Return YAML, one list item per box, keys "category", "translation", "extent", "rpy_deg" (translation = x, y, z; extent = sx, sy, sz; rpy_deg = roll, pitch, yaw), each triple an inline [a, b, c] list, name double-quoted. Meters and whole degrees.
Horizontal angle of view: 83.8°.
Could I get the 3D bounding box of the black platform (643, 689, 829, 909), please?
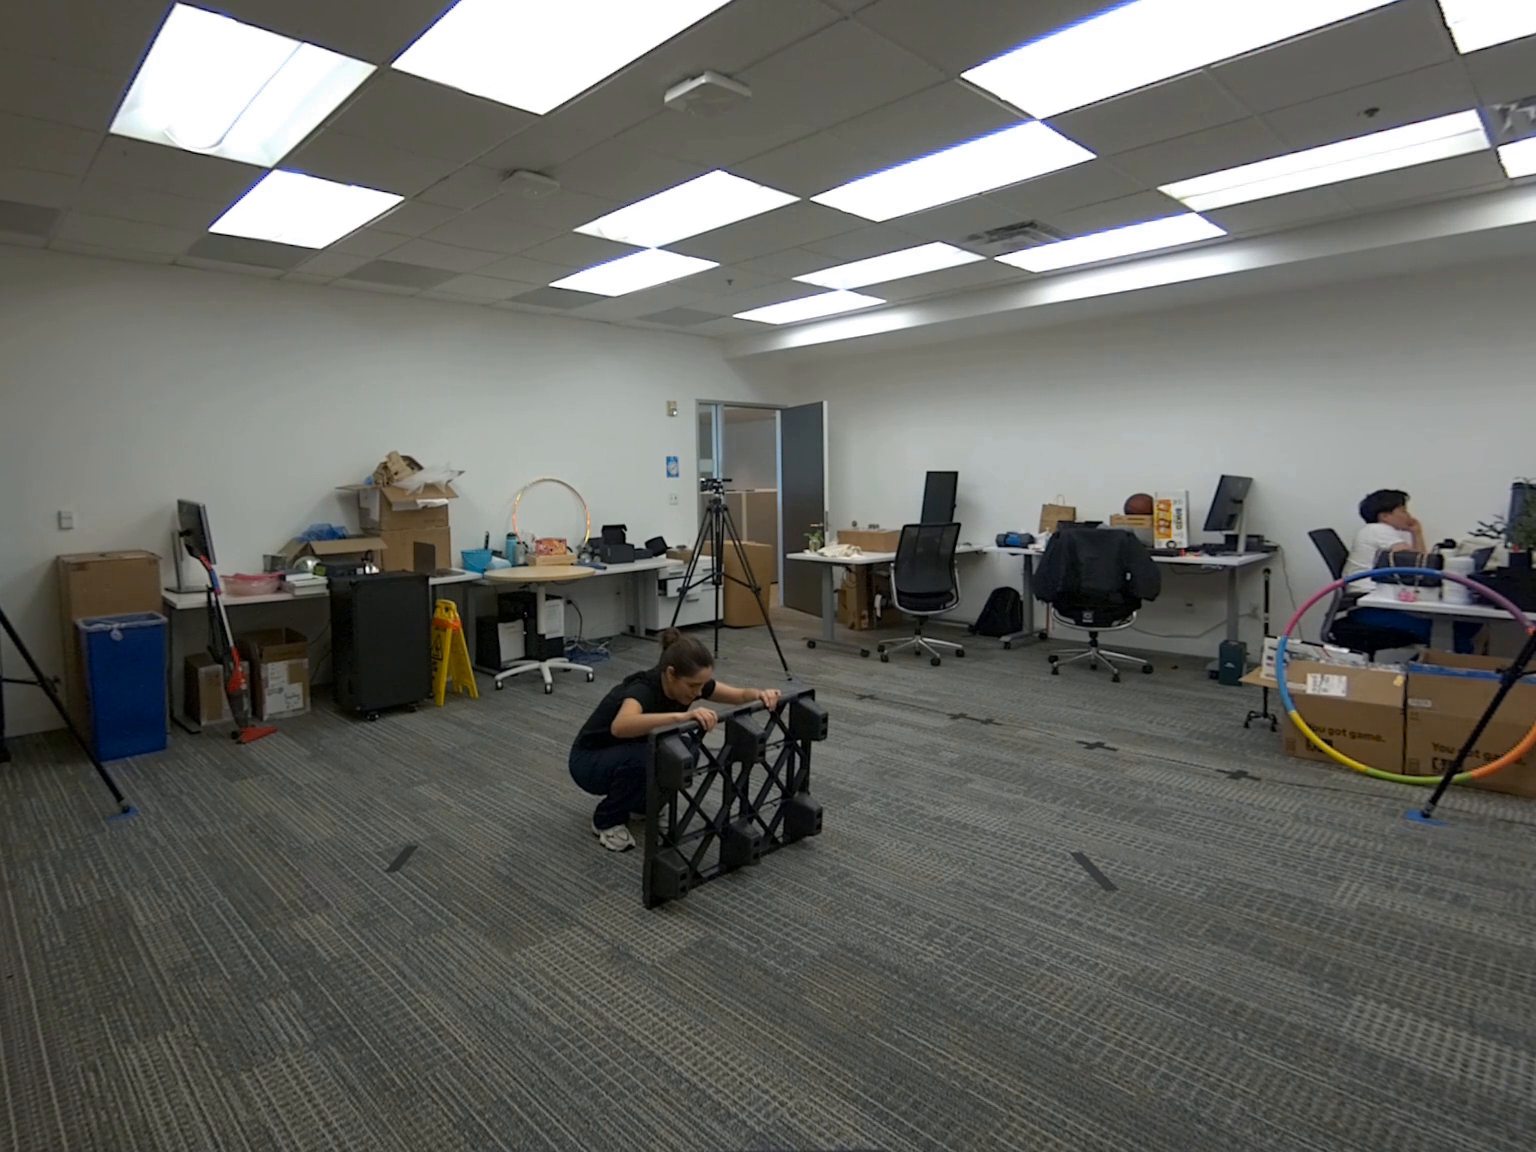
- category: "black platform"
  translation: [-0.083, 0.752, 3.010]
  extent: [0.148, 0.601, 0.785]
  rpy_deg: [9, 11, 43]
